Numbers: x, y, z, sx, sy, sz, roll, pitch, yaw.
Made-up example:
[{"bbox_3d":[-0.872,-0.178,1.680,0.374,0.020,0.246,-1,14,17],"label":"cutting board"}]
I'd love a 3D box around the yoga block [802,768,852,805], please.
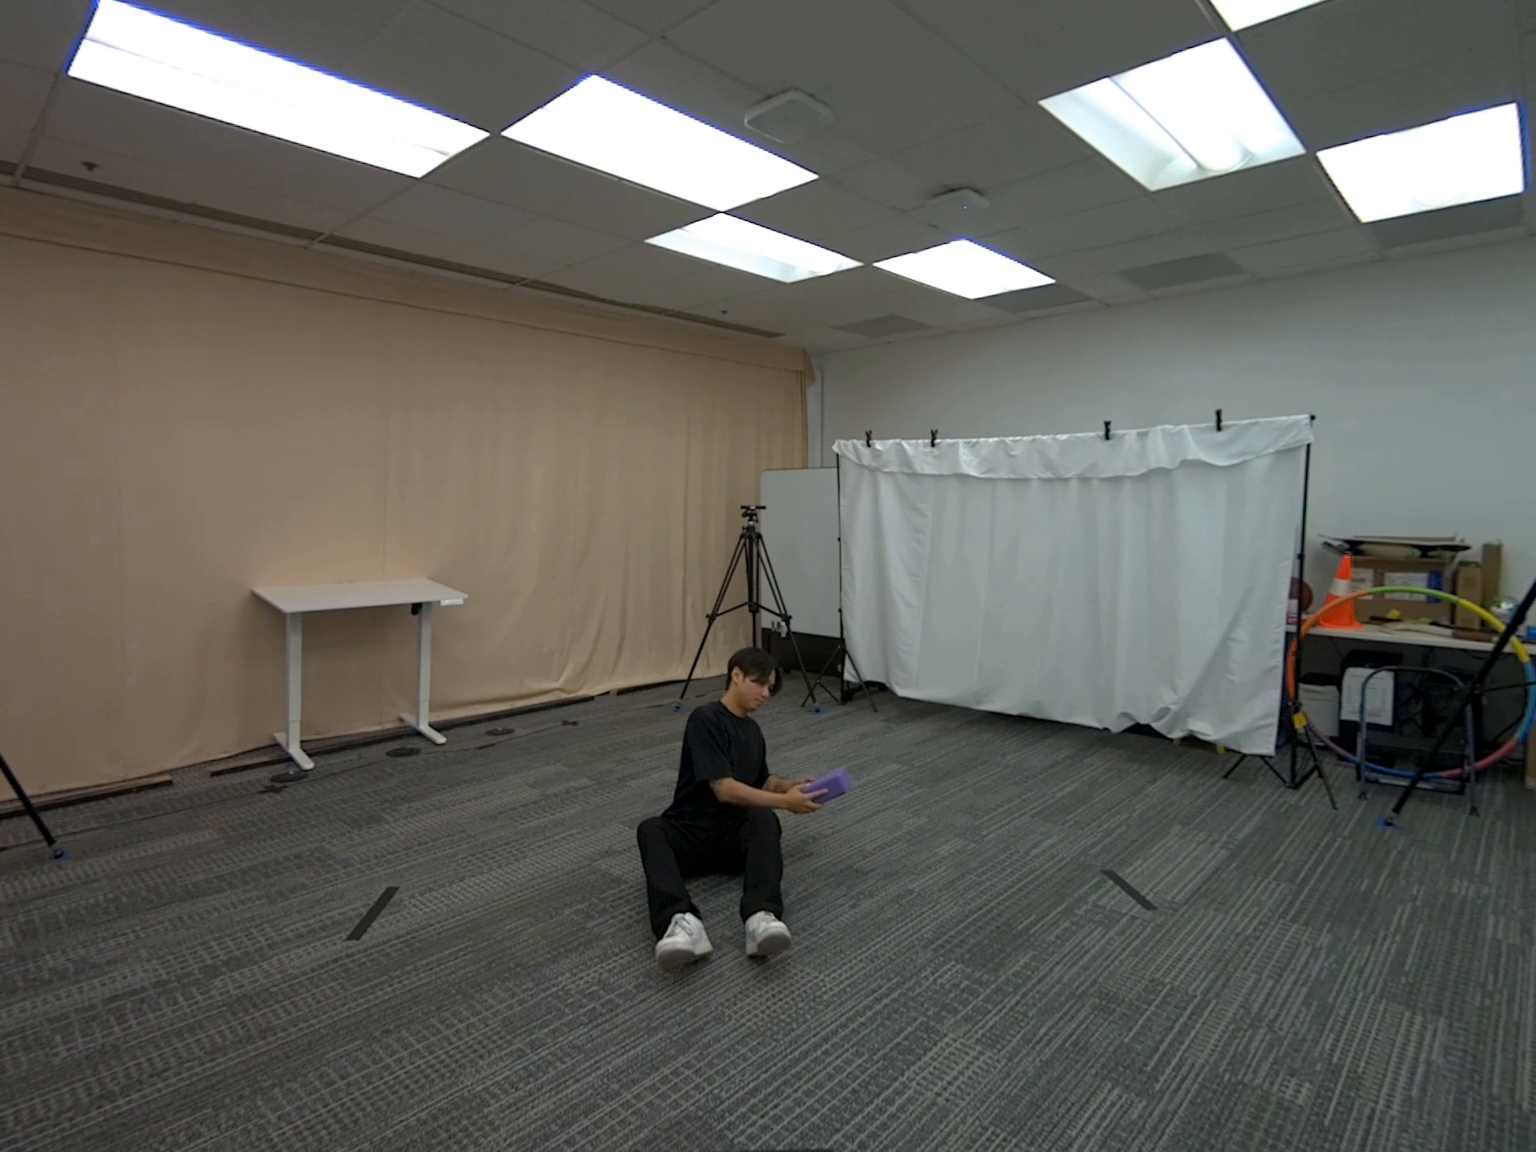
[{"bbox_3d":[0.196,0.829,3.252,0.232,0.077,0.146,-25,-8,17],"label":"yoga block"}]
